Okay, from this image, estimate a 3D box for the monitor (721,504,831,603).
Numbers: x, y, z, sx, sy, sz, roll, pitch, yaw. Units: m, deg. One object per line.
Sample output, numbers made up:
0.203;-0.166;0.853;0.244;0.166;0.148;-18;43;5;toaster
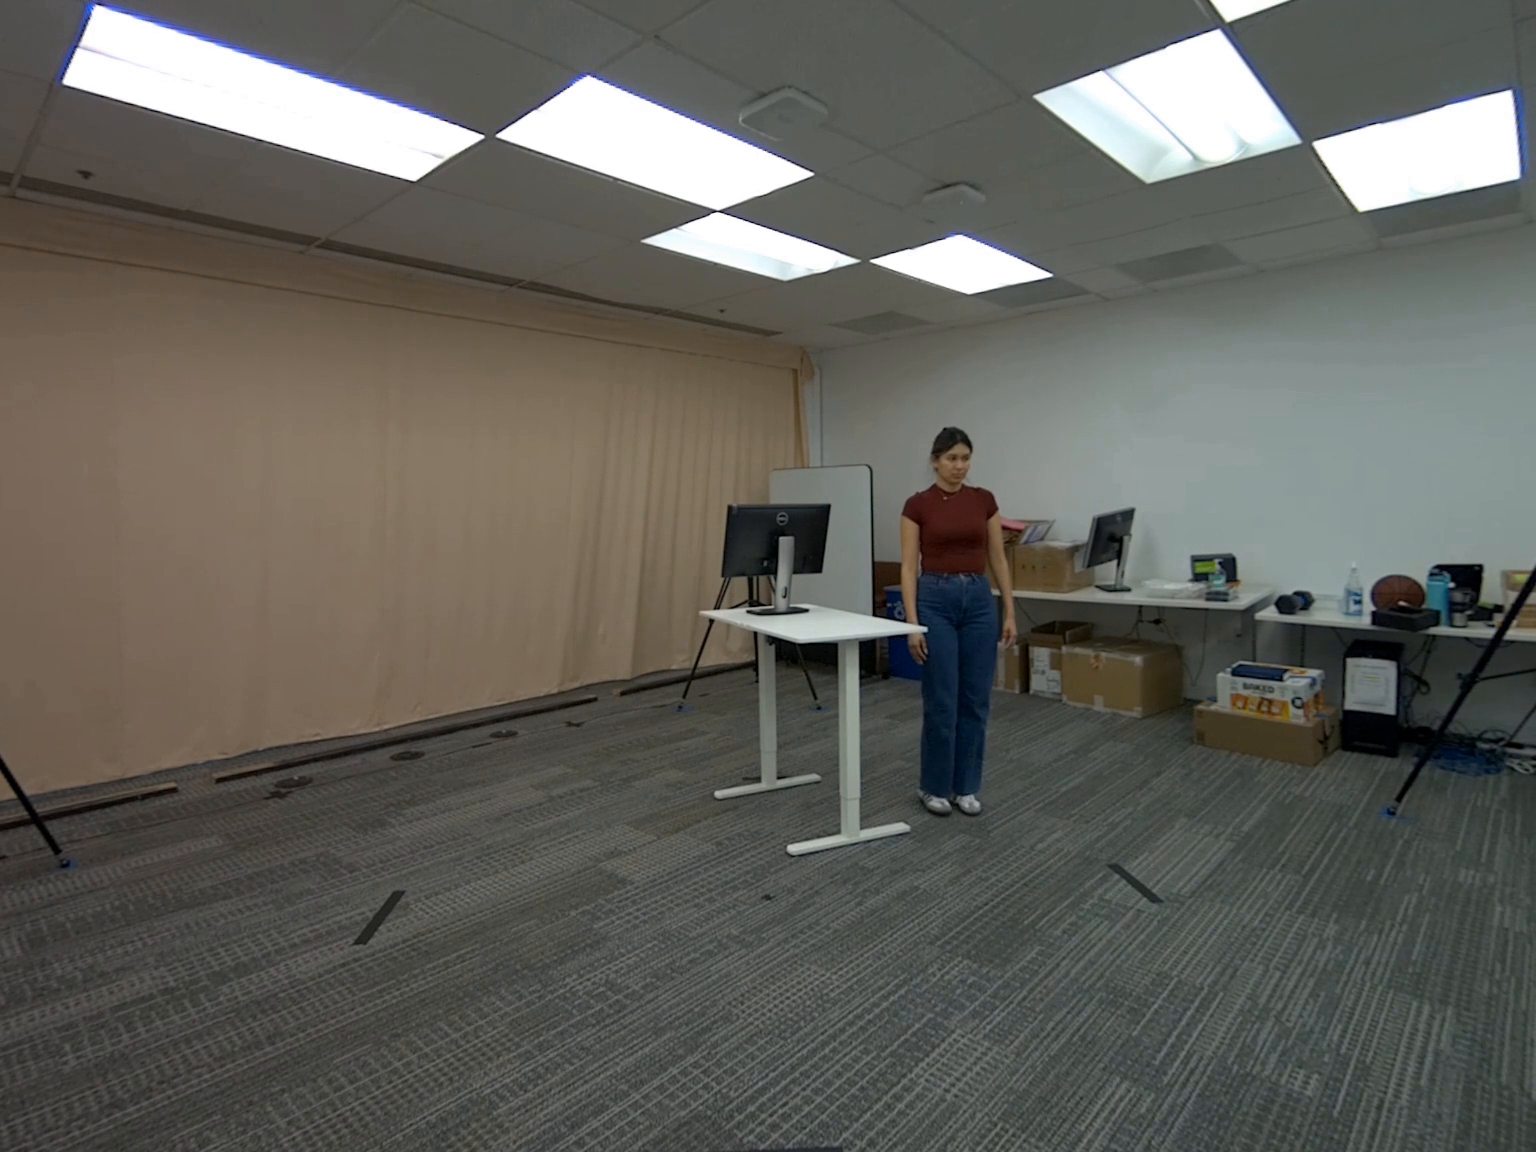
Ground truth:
0.056;-0.076;3.979;0.527;0.521;0.192;-2;6;-24;monitor
